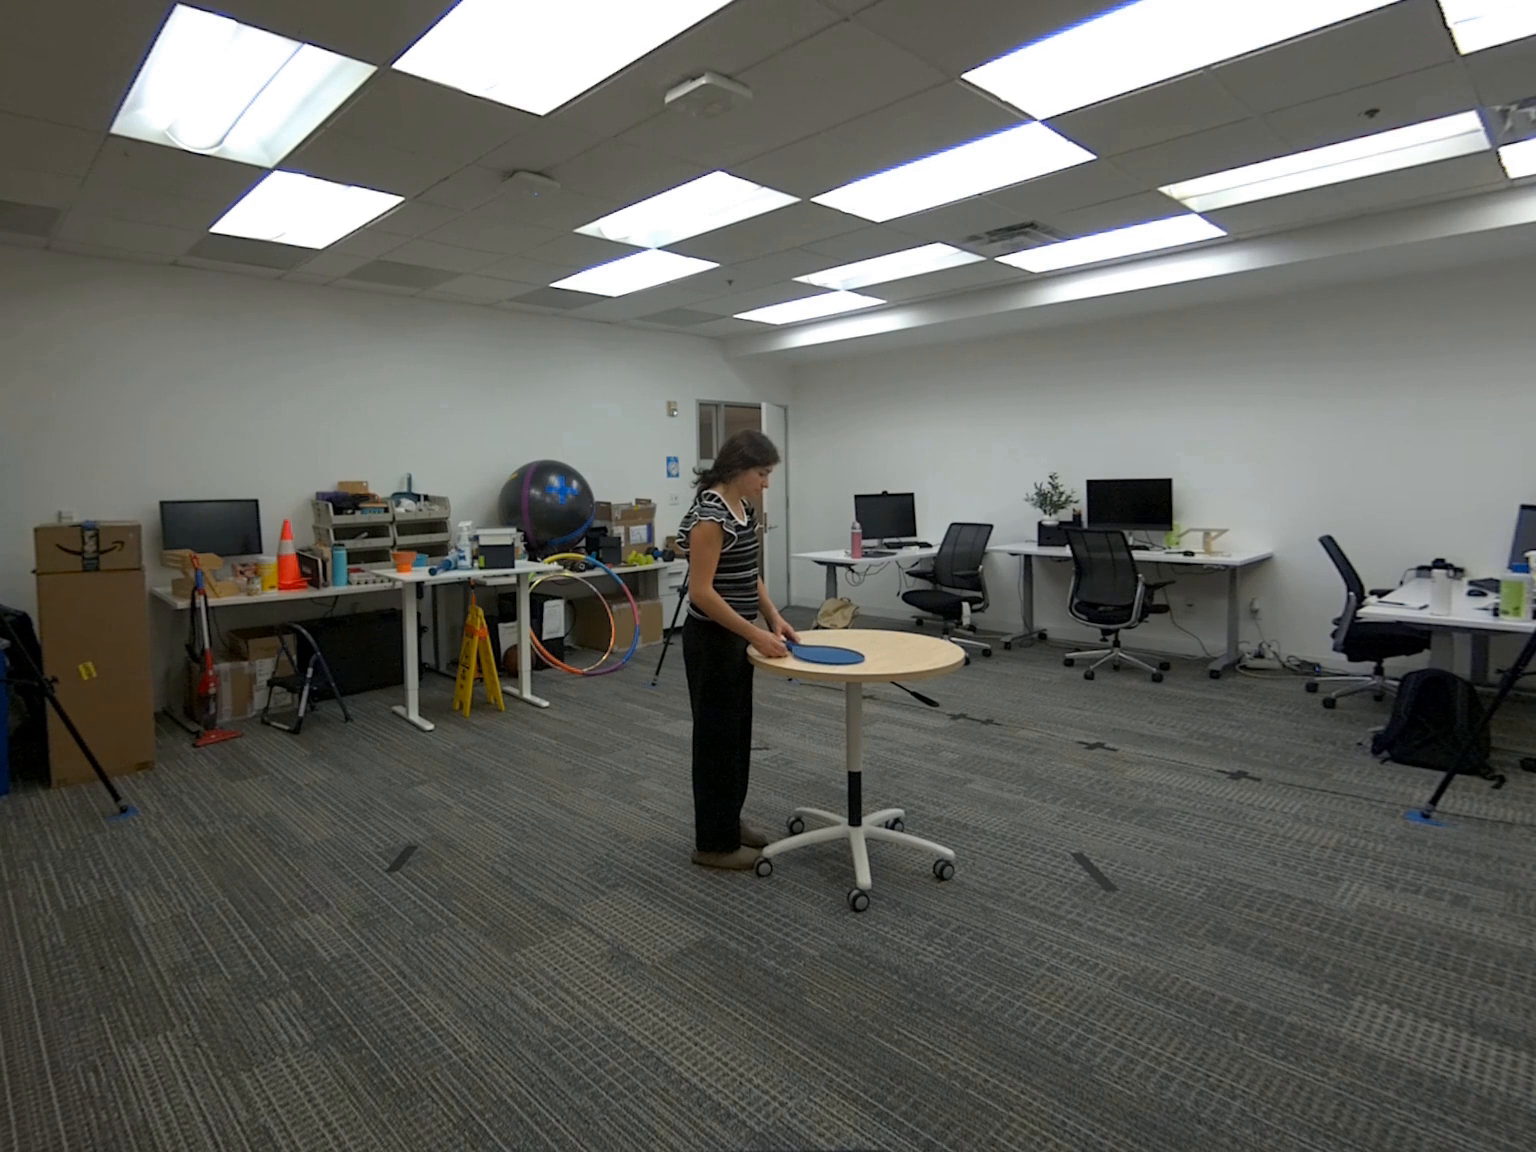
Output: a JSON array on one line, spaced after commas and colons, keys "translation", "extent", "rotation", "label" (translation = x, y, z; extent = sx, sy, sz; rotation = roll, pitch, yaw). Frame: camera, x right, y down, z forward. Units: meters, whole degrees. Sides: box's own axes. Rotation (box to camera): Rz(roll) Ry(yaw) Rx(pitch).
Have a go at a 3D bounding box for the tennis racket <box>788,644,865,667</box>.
[{"translation": [0.142, 0.262, 2.972], "extent": [0.446, 0.031, 0.208], "rotation": [6, 9, 43], "label": "tennis racket"}]
